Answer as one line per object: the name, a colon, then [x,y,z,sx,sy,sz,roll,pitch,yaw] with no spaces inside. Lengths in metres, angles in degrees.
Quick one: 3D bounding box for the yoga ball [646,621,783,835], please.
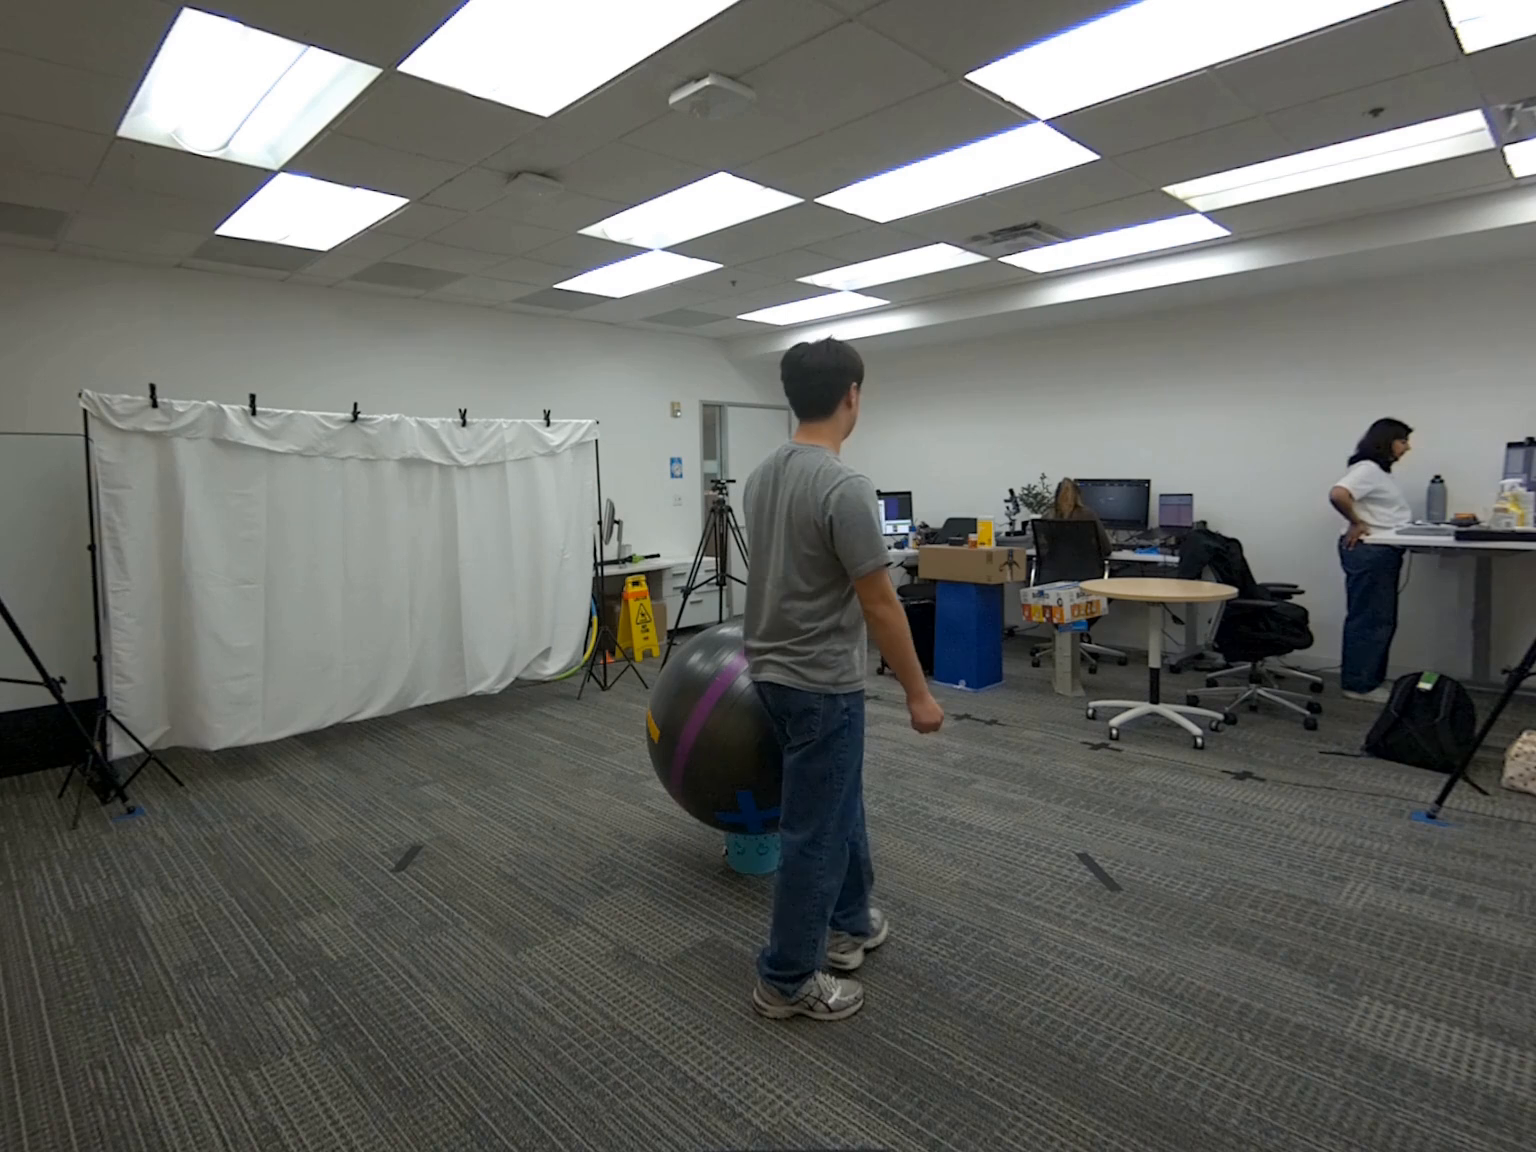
yoga ball: [-0.056,0.536,3.086,0.757,0.755,0.762,-1,5,-2]
